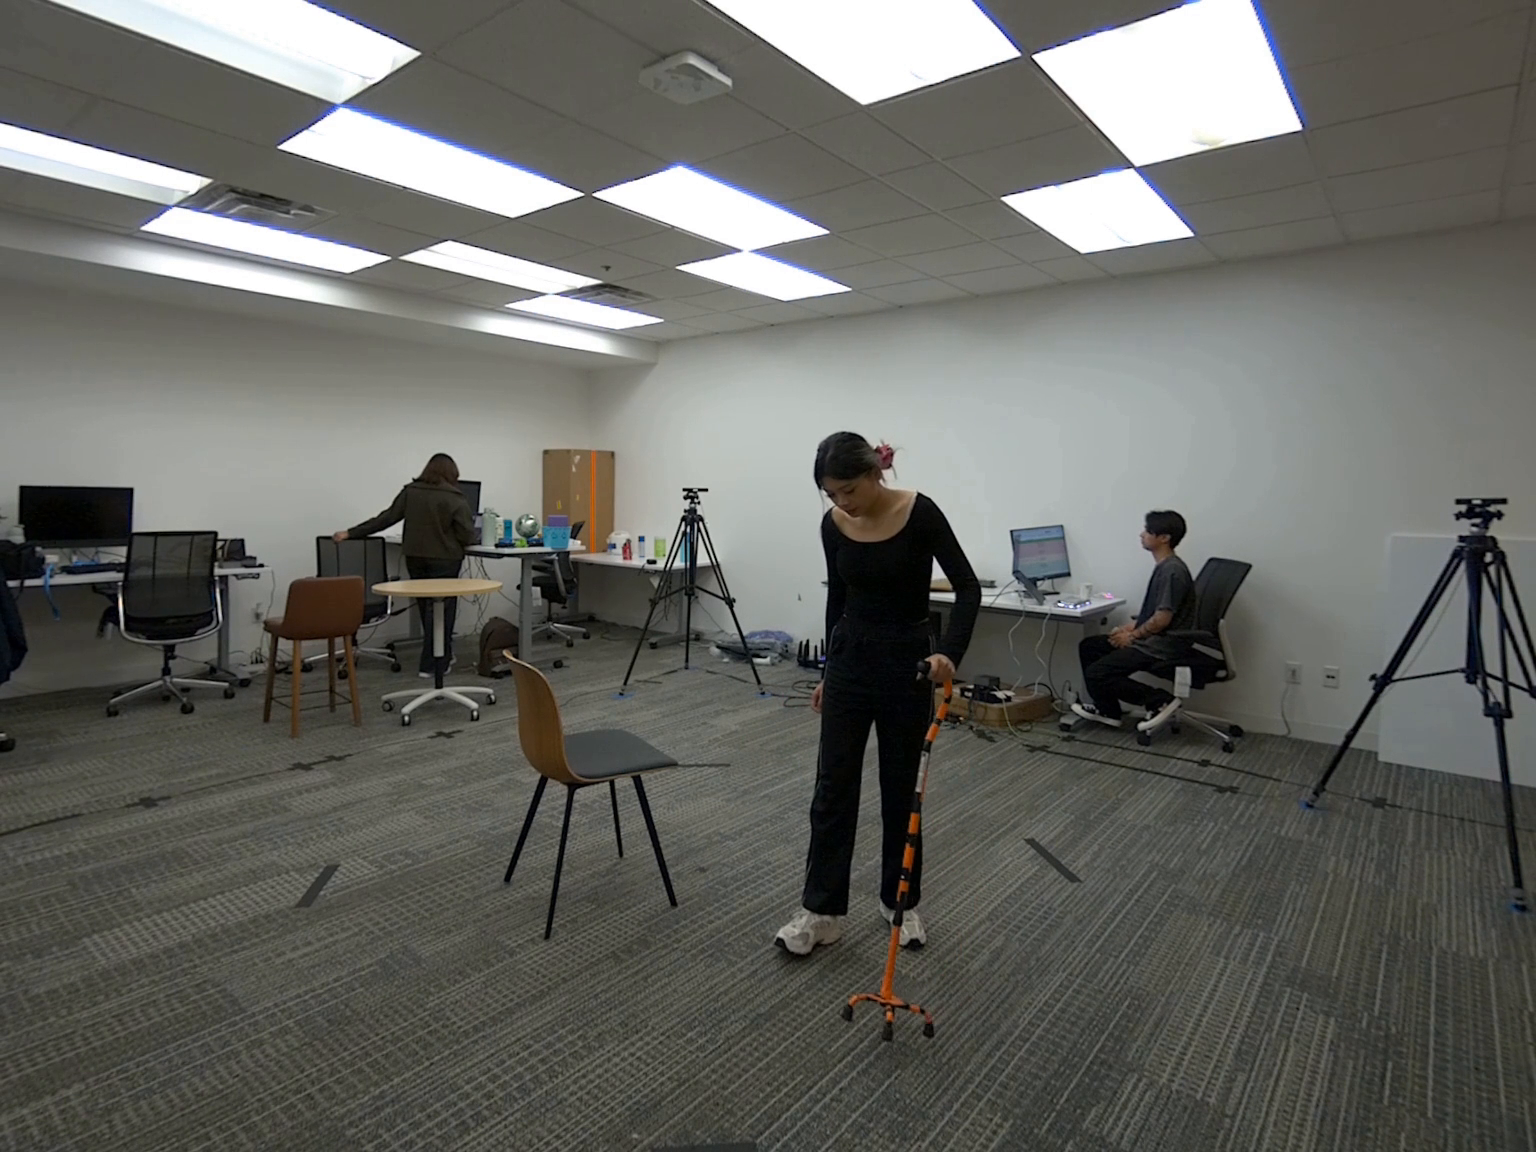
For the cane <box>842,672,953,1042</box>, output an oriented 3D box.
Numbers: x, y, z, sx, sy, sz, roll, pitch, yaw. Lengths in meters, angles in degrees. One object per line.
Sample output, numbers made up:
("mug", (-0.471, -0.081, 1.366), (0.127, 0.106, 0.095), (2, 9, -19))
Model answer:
("cane", (0.393, 0.692, 2.230), (0.198, 0.916, 0.156), (19, -15, -40))
